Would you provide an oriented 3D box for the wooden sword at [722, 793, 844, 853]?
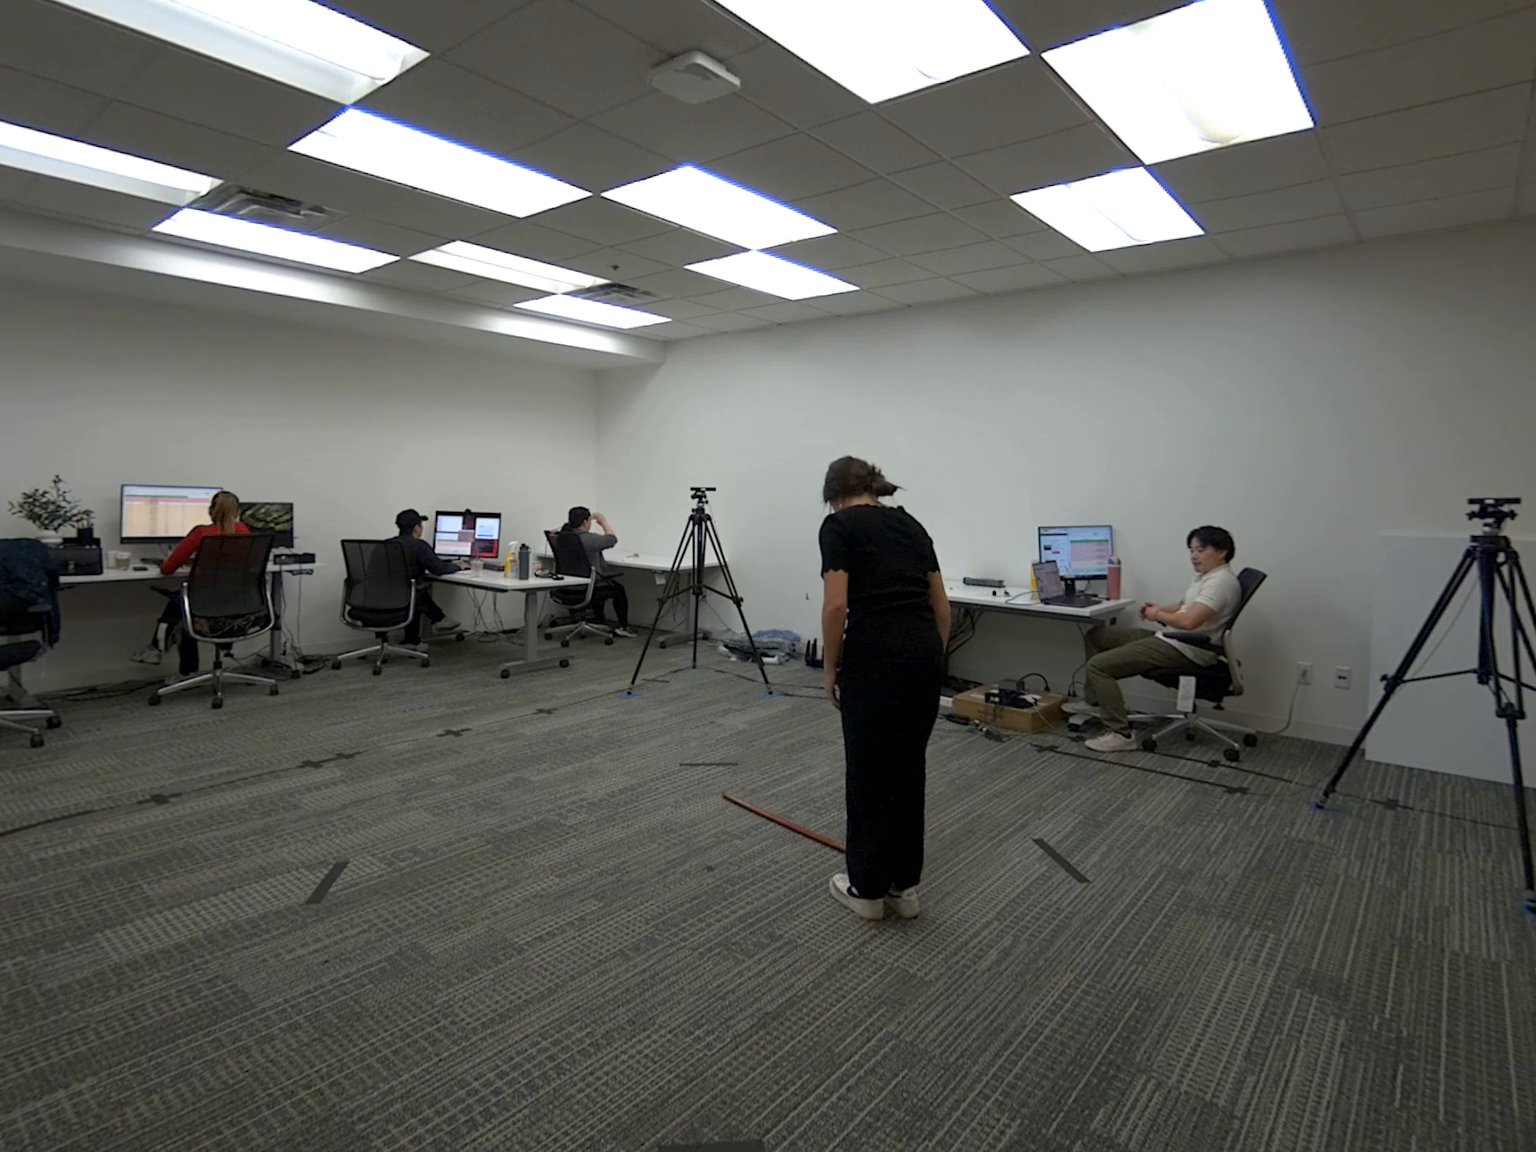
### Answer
[{"bbox_3d":[0.124,1.018,3.443,0.050,0.024,1.060,-8,10,-40],"label":"wooden sword"}]
